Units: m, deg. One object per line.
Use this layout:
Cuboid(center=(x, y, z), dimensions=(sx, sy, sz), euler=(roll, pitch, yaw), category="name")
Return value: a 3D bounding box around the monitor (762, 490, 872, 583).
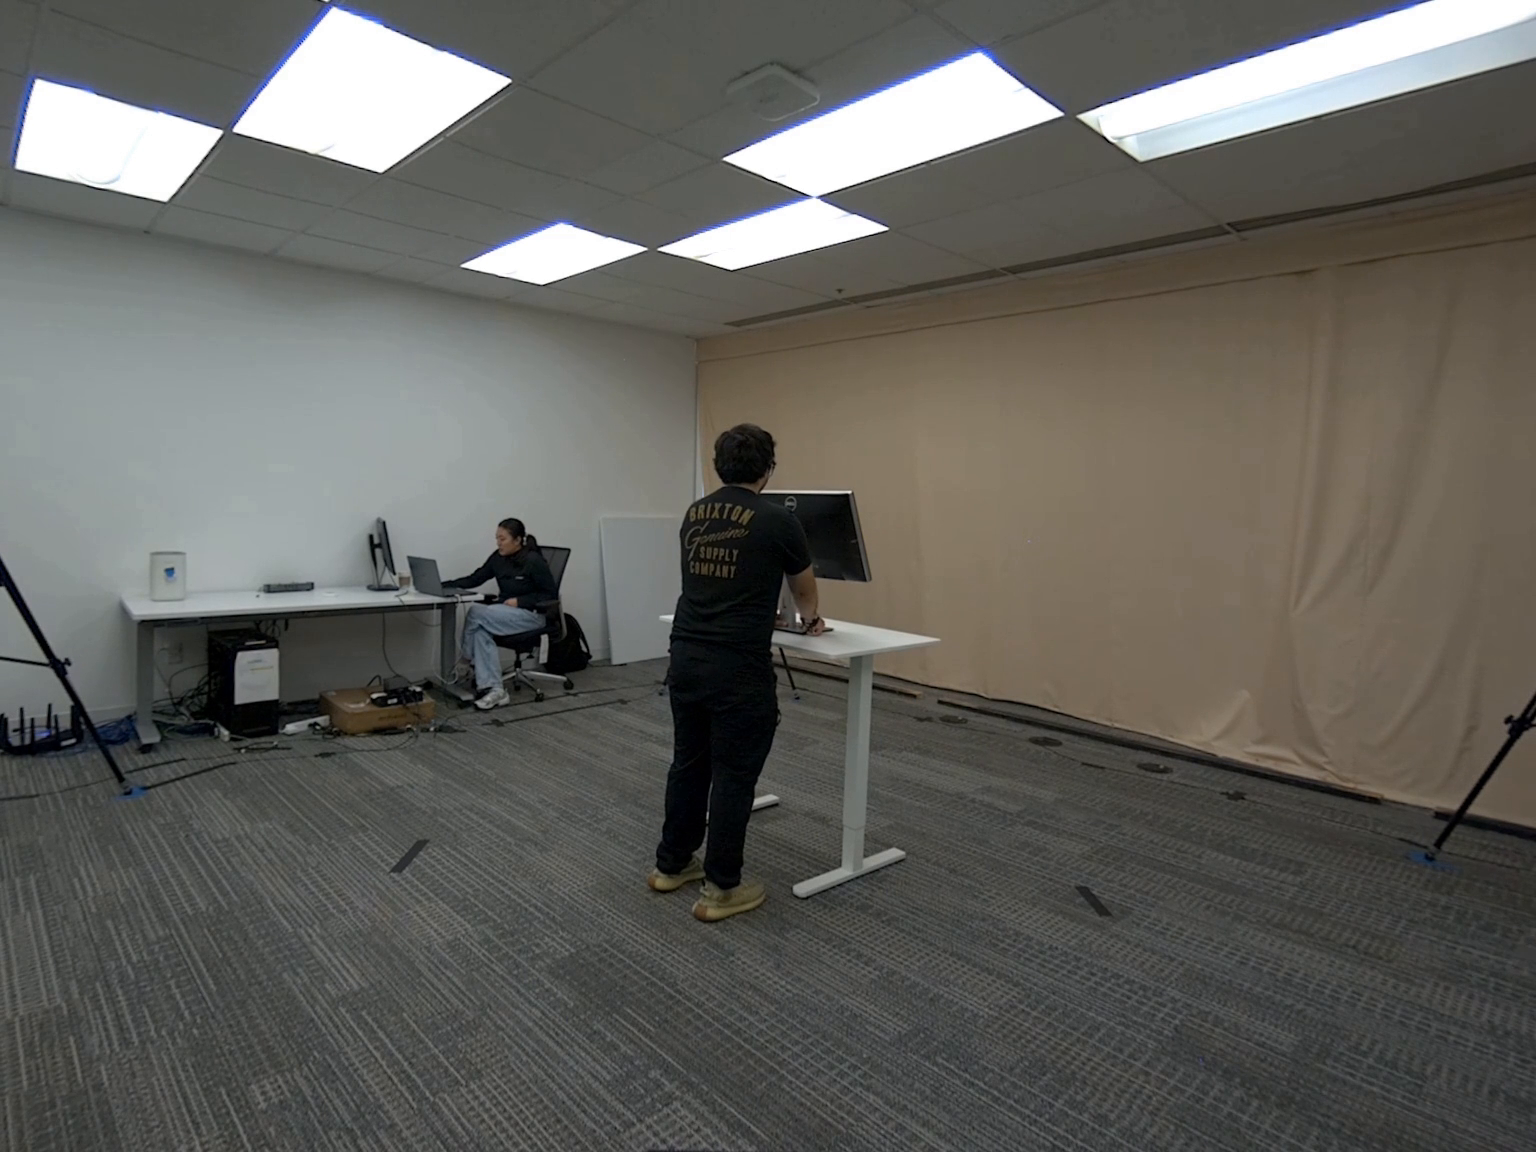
Cuboid(center=(0.094, -0.058, 3.283), dimensions=(0.580, 0.549, 0.207), euler=(6, 16, 43), category="monitor")
